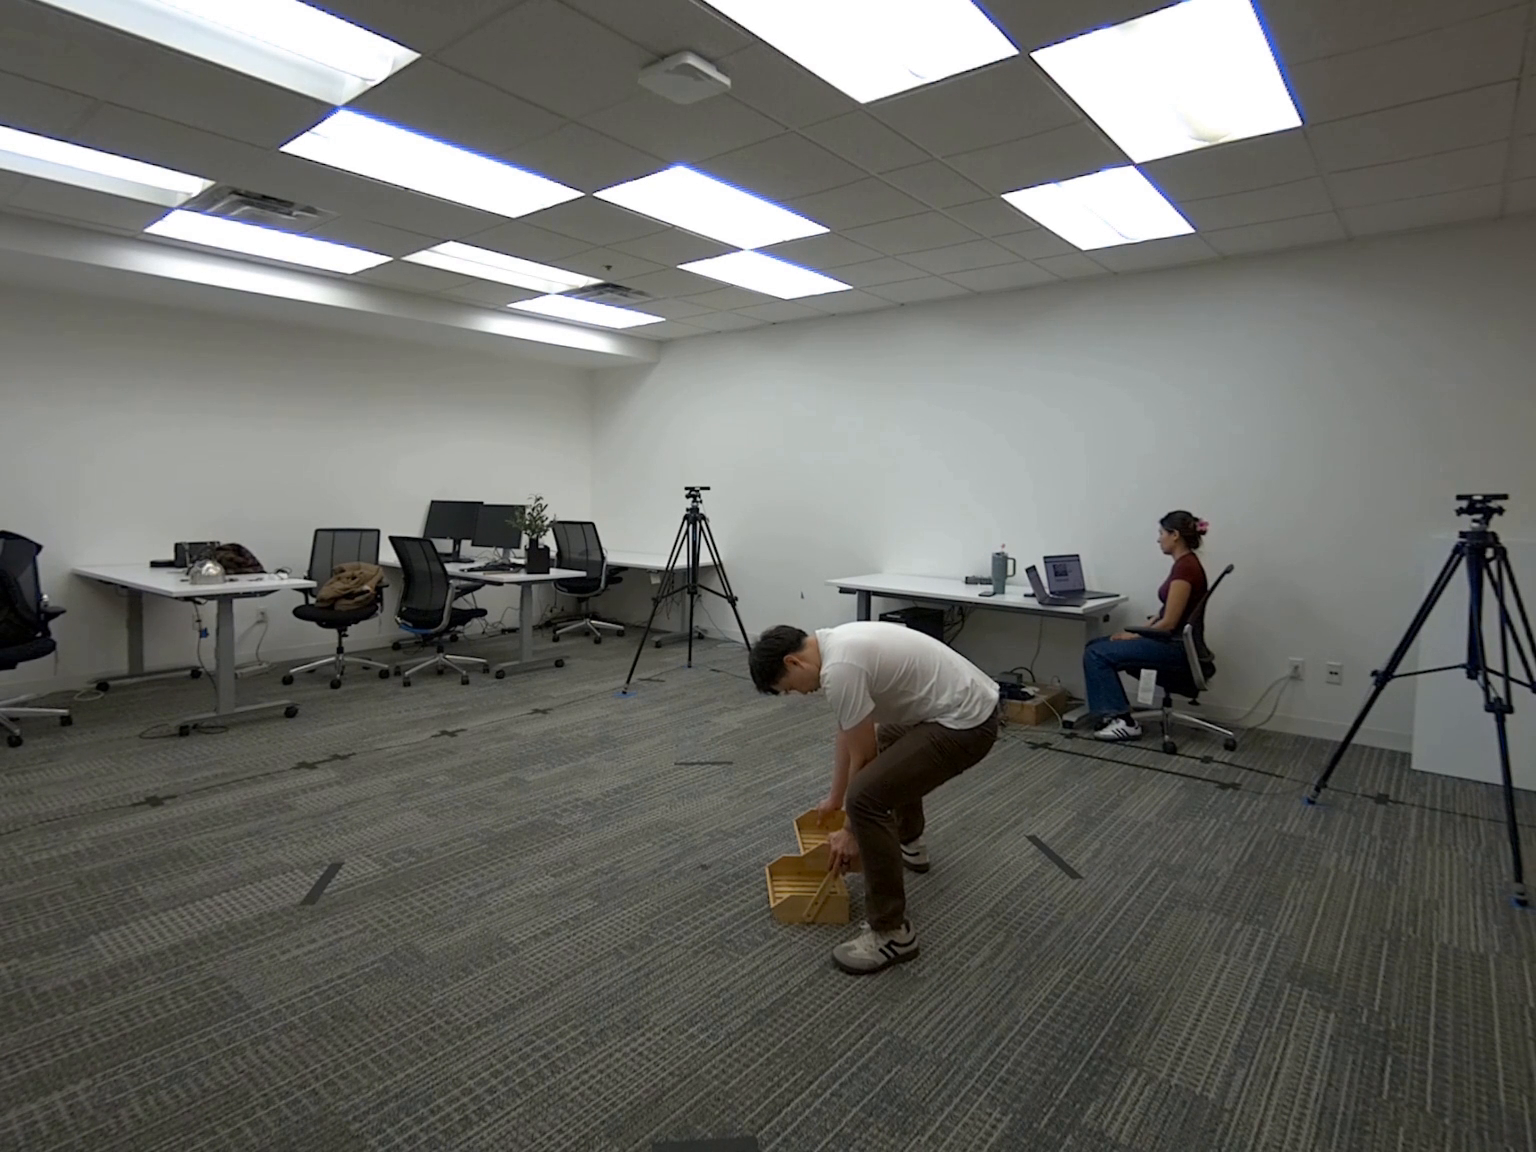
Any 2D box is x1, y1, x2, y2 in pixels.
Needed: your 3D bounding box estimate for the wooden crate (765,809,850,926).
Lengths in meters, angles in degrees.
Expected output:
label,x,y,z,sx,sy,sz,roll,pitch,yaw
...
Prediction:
label,x,y,z,sx,sy,sz,roll,pitch,yaw
wooden crate,0.145,0.963,2.870,0.301,0.272,0.326,1,4,-3
